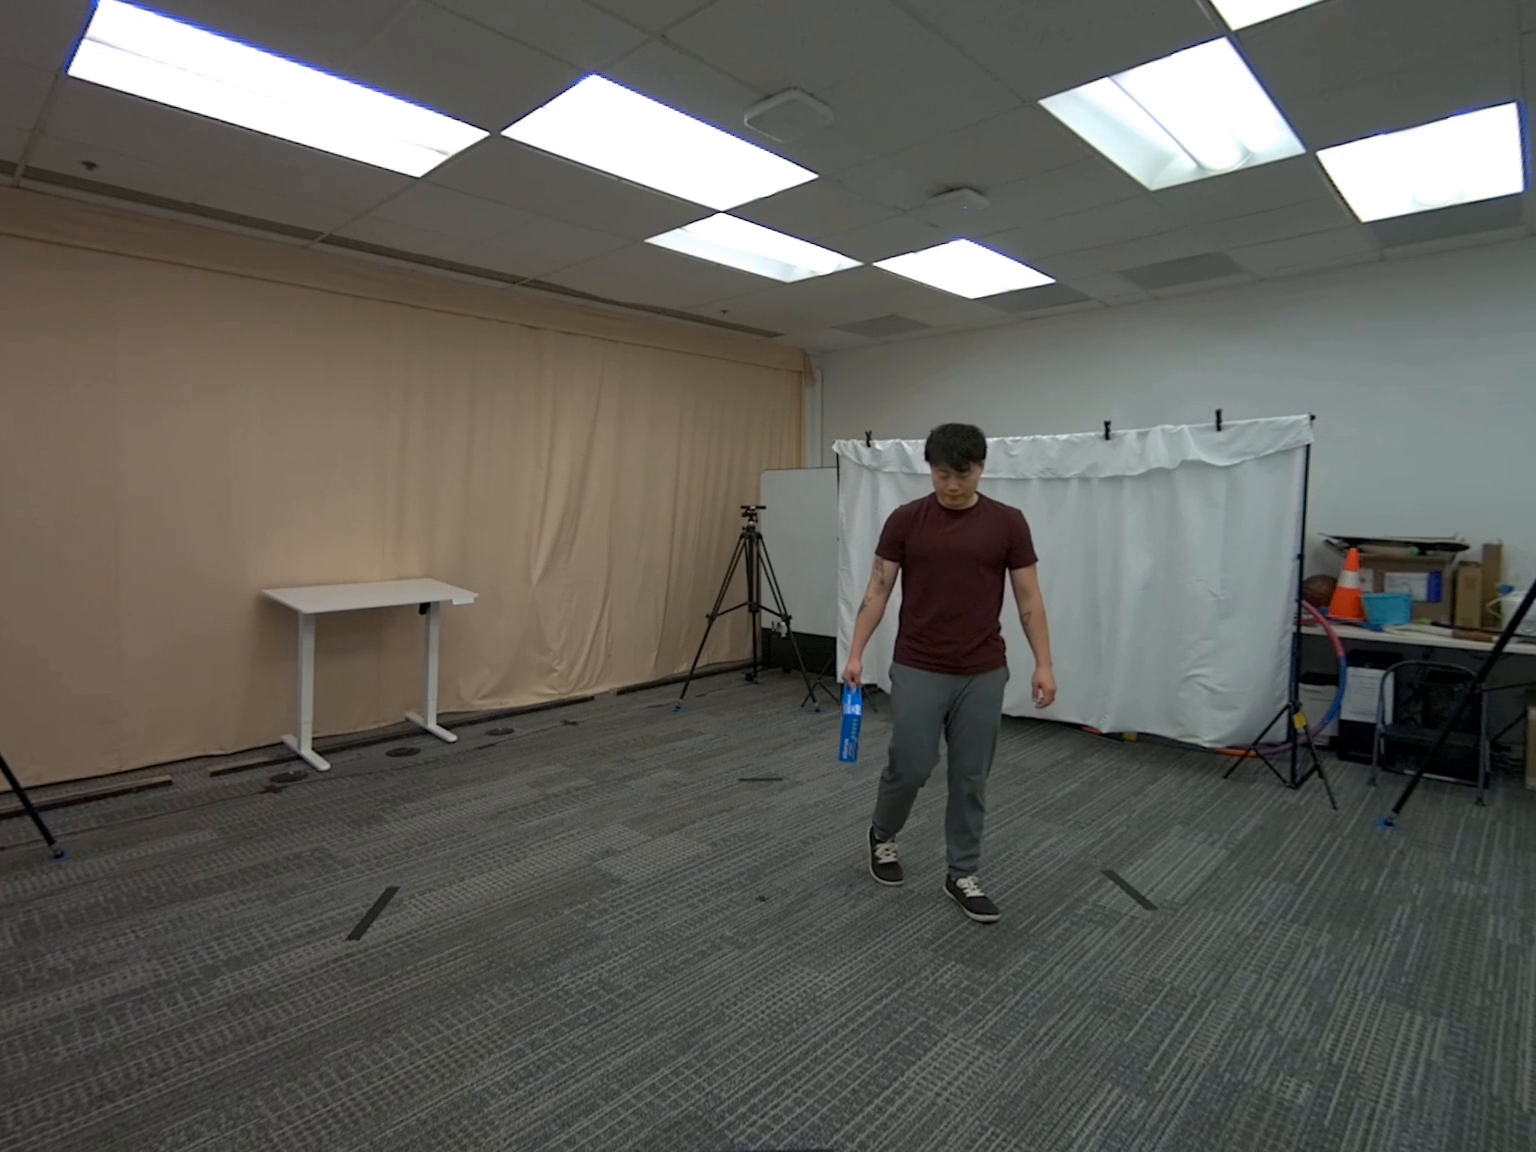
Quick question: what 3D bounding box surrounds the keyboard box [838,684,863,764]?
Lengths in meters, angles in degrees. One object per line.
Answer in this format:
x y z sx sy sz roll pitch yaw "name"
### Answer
0.300 0.476 2.969 0.059 0.174 0.437 4 15 5 "keyboard box"
